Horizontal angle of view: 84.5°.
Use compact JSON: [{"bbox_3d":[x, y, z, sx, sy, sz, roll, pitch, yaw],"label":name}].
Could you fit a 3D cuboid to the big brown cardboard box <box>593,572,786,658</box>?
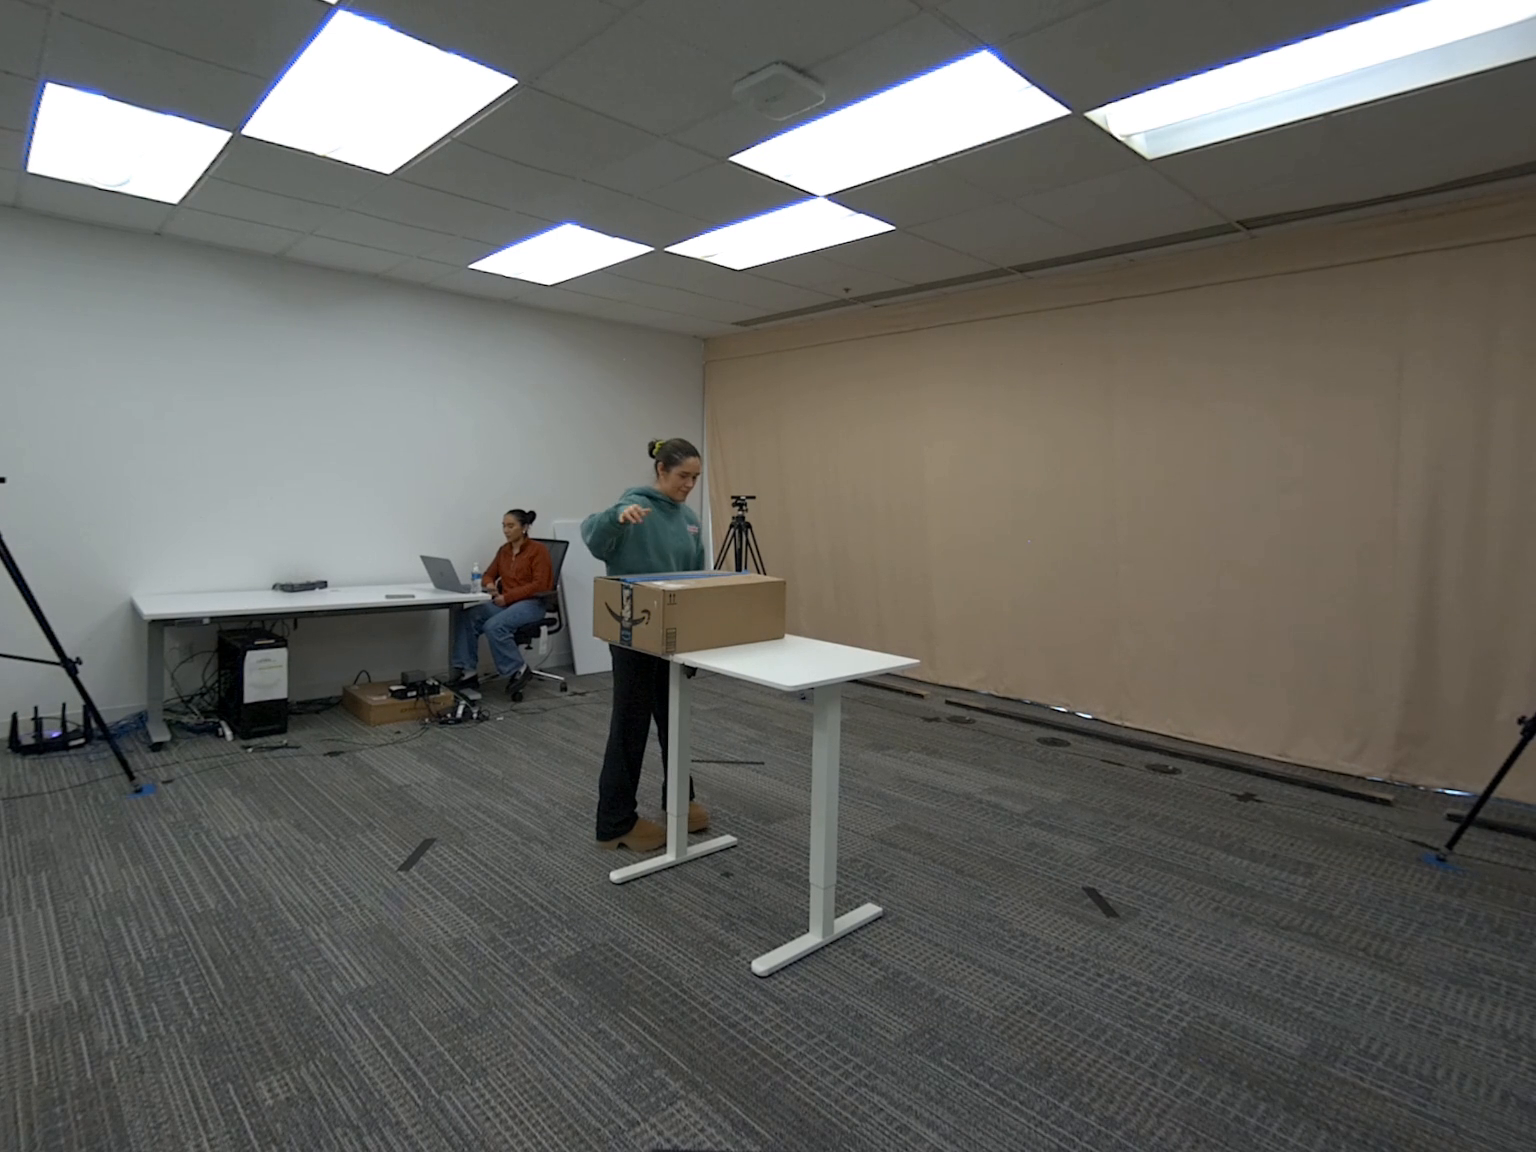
[{"bbox_3d":[-0.289,0.116,3.021,0.575,0.232,0.428,-3,7,-43],"label":"big brown cardboard box"}]
